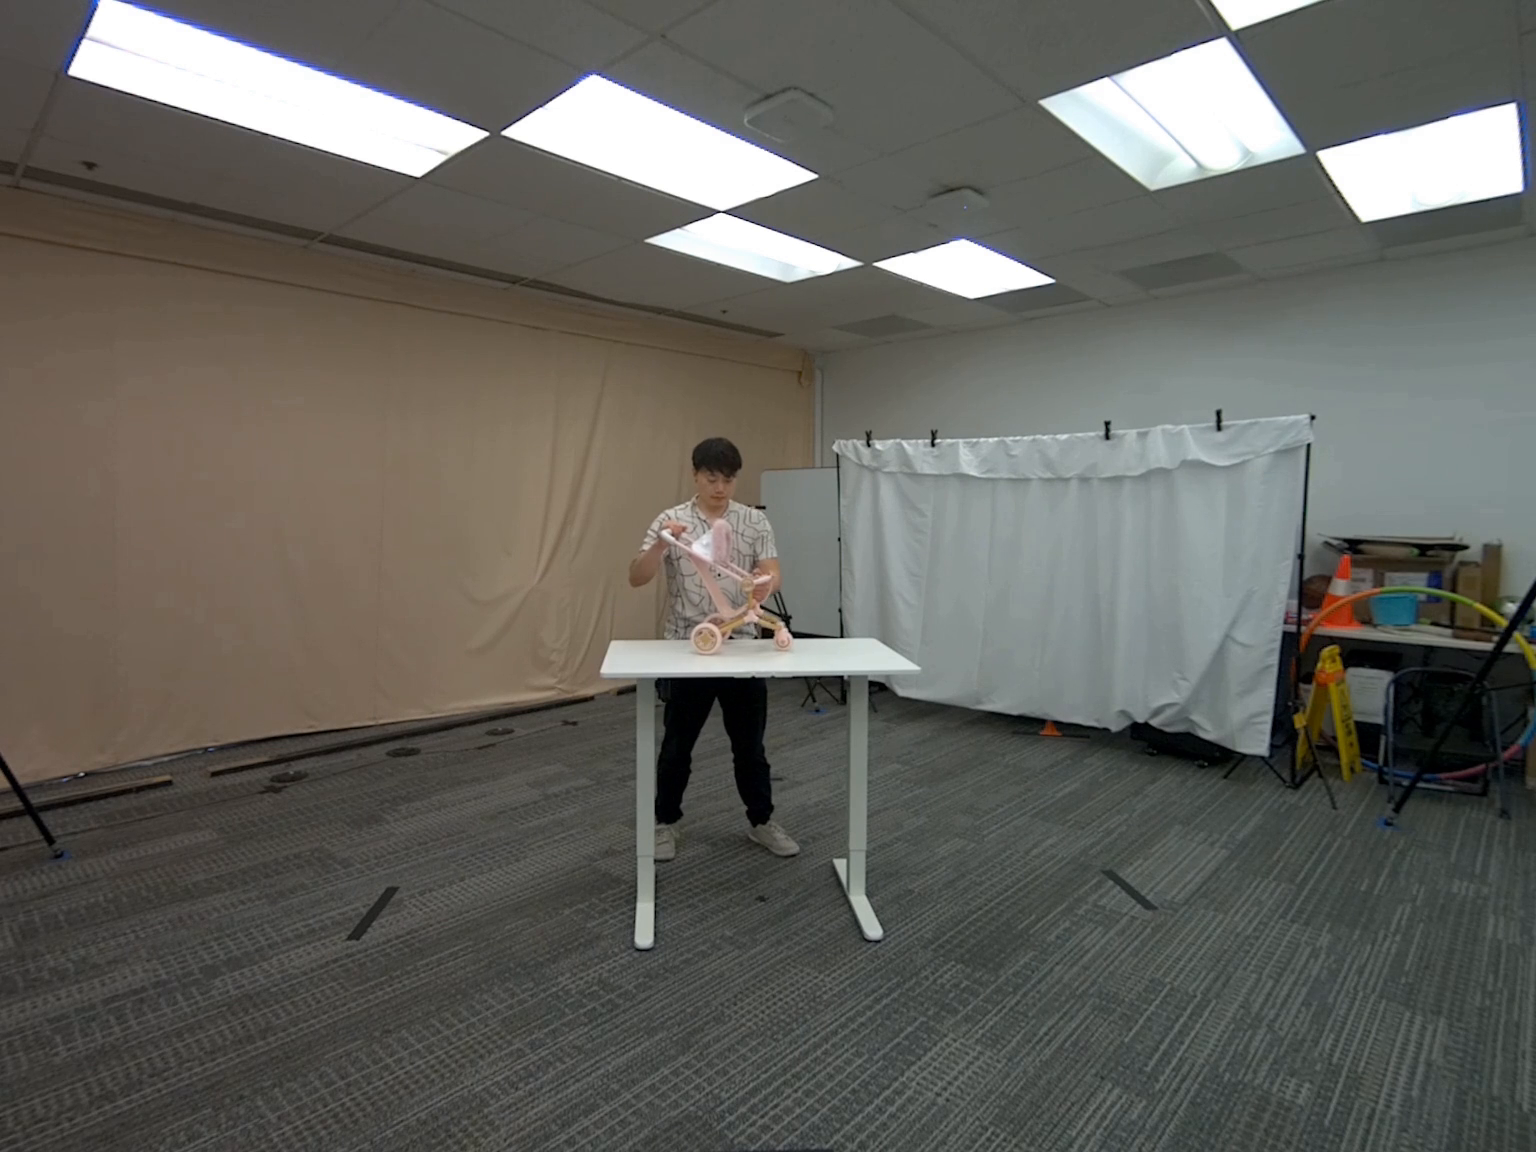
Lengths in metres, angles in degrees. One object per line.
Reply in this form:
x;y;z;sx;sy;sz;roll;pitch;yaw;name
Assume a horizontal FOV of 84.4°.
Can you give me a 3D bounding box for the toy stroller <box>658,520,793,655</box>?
-0.137;0.040;2.978;0.346;0.535;0.277;-14;-1;14;toy stroller
